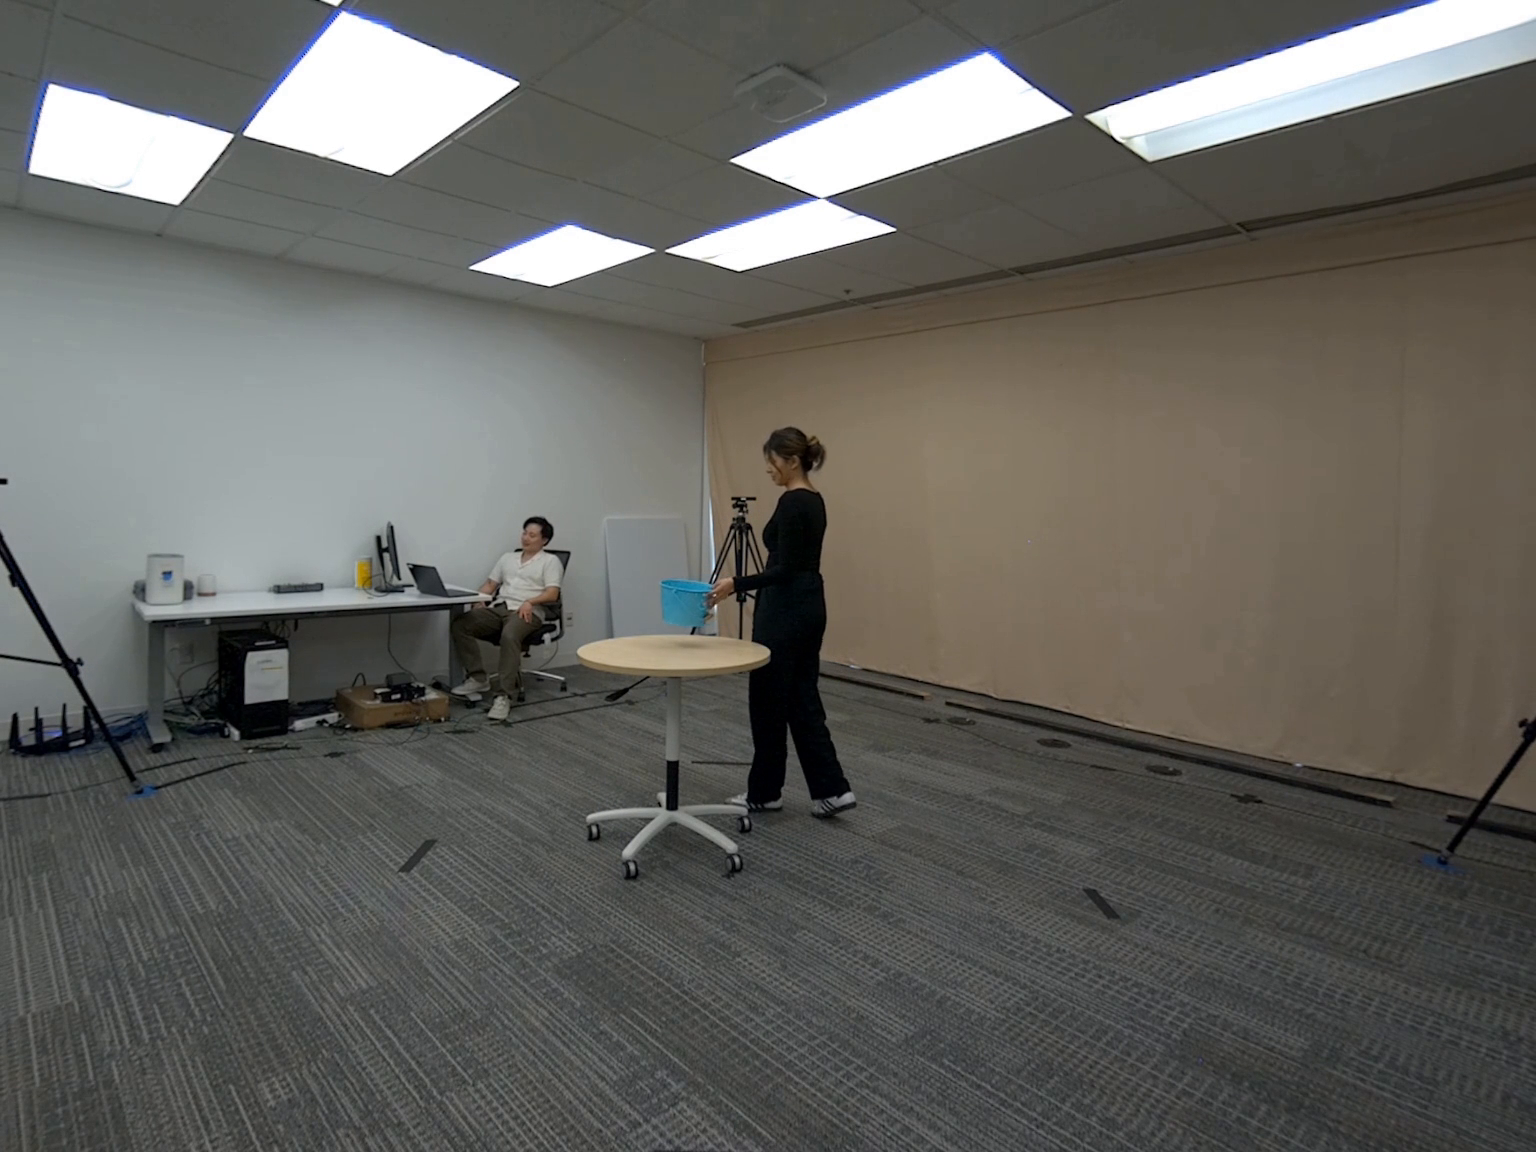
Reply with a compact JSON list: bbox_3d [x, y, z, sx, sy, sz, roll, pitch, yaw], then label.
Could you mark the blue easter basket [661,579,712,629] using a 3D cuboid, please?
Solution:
[{"bbox_3d":[-0.336,0.116,3.455,0.243,0.155,0.245,5,8,-2],"label":"blue easter basket"}]
